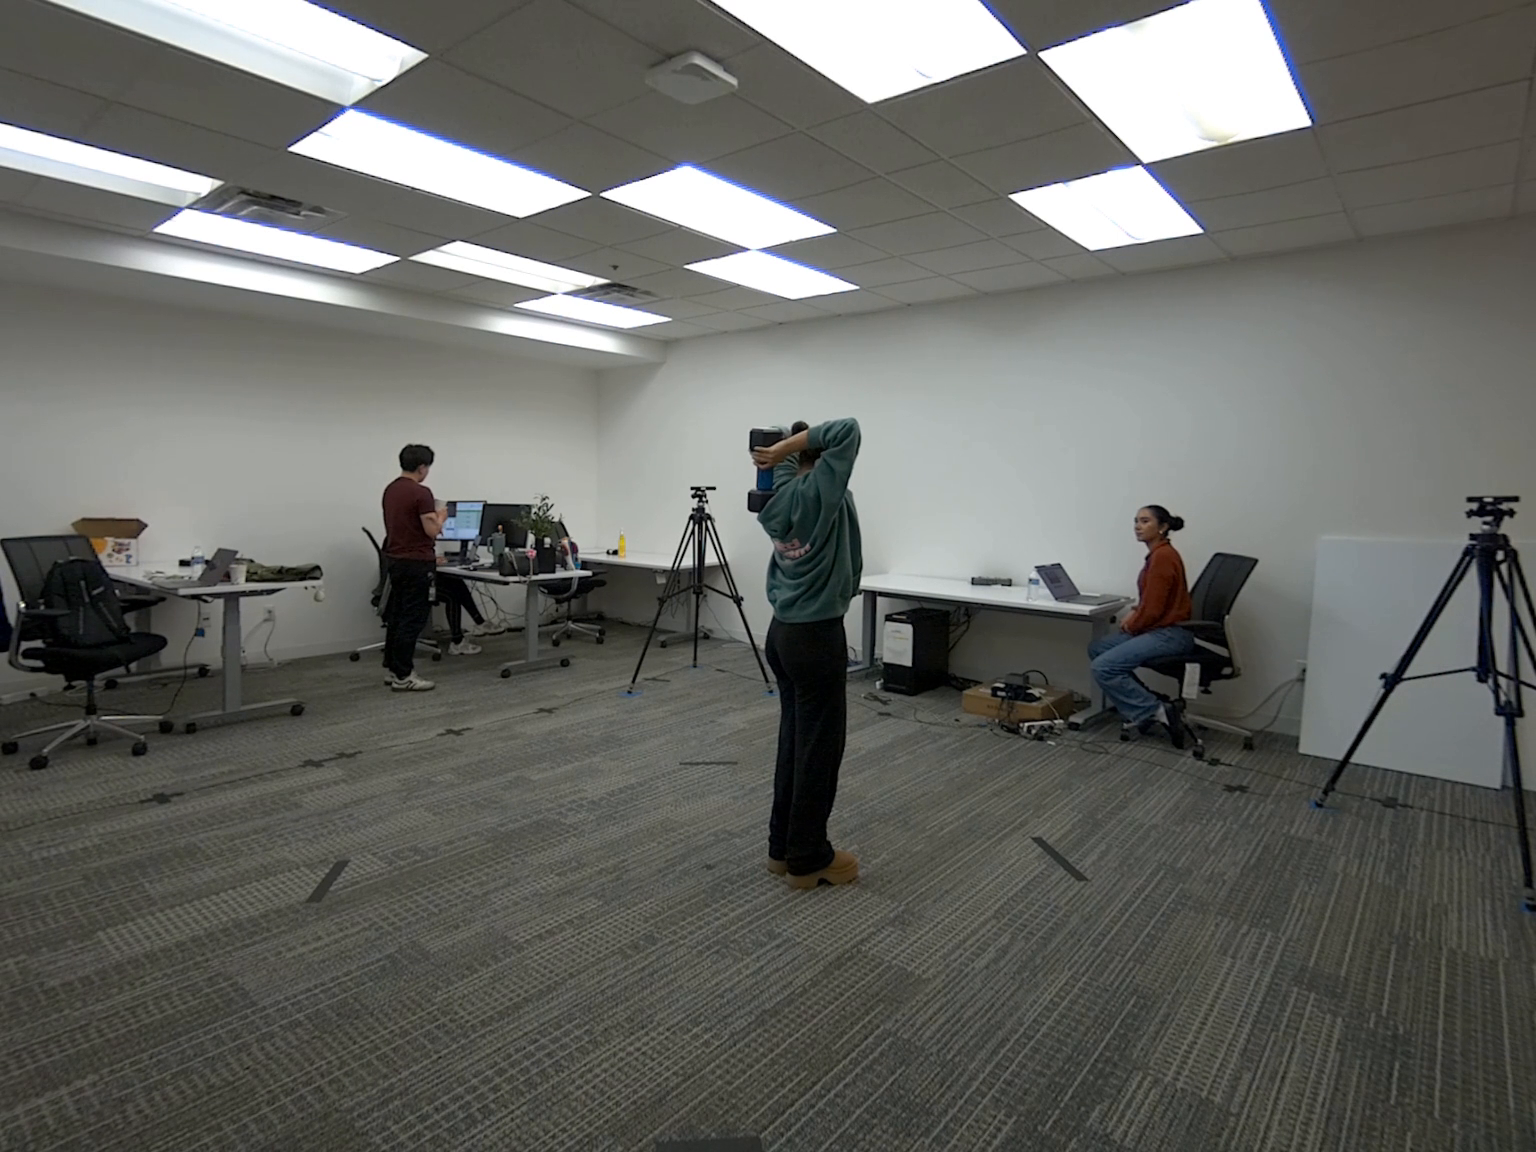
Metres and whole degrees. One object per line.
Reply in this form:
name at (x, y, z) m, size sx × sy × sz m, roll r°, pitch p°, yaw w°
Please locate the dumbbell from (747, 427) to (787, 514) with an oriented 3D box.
dumbbell at (-0.014, -0.372, 2.963) m, size 0.120 × 0.292 × 0.112 m, roll 1°, pitch 8°, yaw -25°
